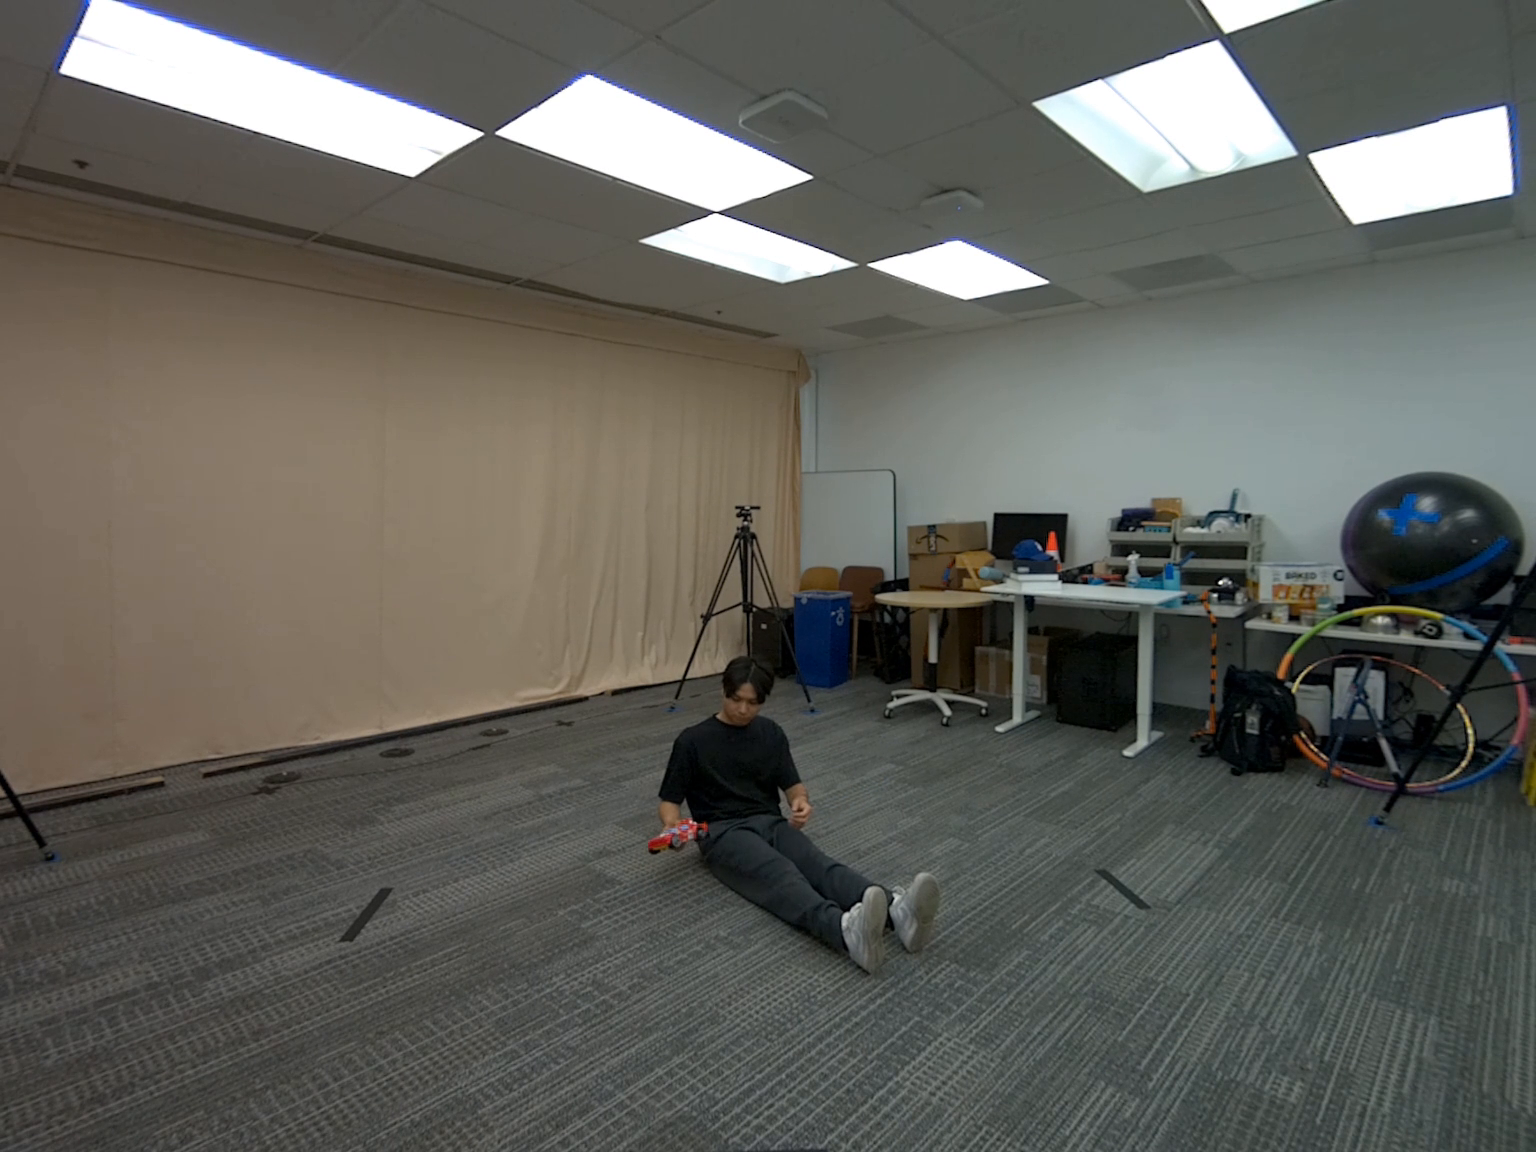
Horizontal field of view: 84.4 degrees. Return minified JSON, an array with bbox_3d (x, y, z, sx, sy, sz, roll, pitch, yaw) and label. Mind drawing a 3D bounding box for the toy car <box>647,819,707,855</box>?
[{"bbox_3d":[-0.299,0.902,2.938,0.132,0.084,0.248,-28,-8,28],"label":"toy car"}]
